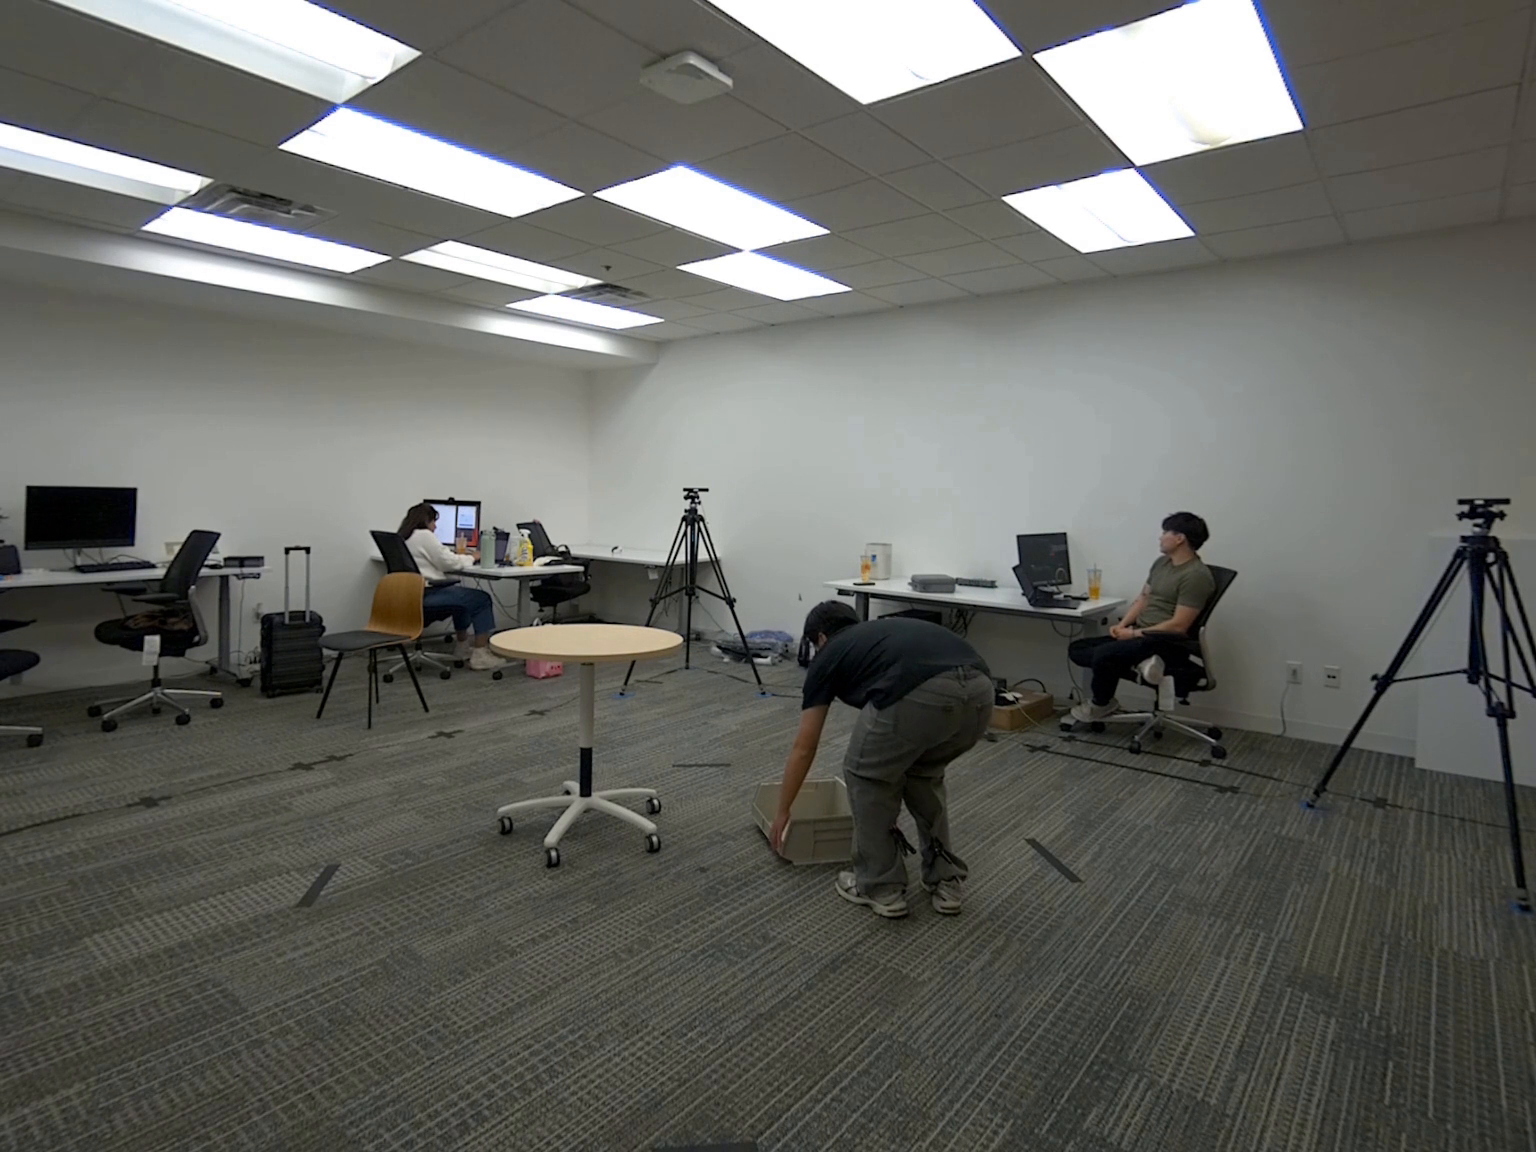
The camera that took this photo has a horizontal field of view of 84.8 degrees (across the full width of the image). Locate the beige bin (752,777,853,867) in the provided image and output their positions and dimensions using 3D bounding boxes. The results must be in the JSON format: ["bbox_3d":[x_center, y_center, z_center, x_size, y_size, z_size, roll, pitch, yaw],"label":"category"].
[{"bbox_3d":[0.164,0.966,3.382,0.371,0.188,0.431,0,5,-16],"label":"beige bin"}]
